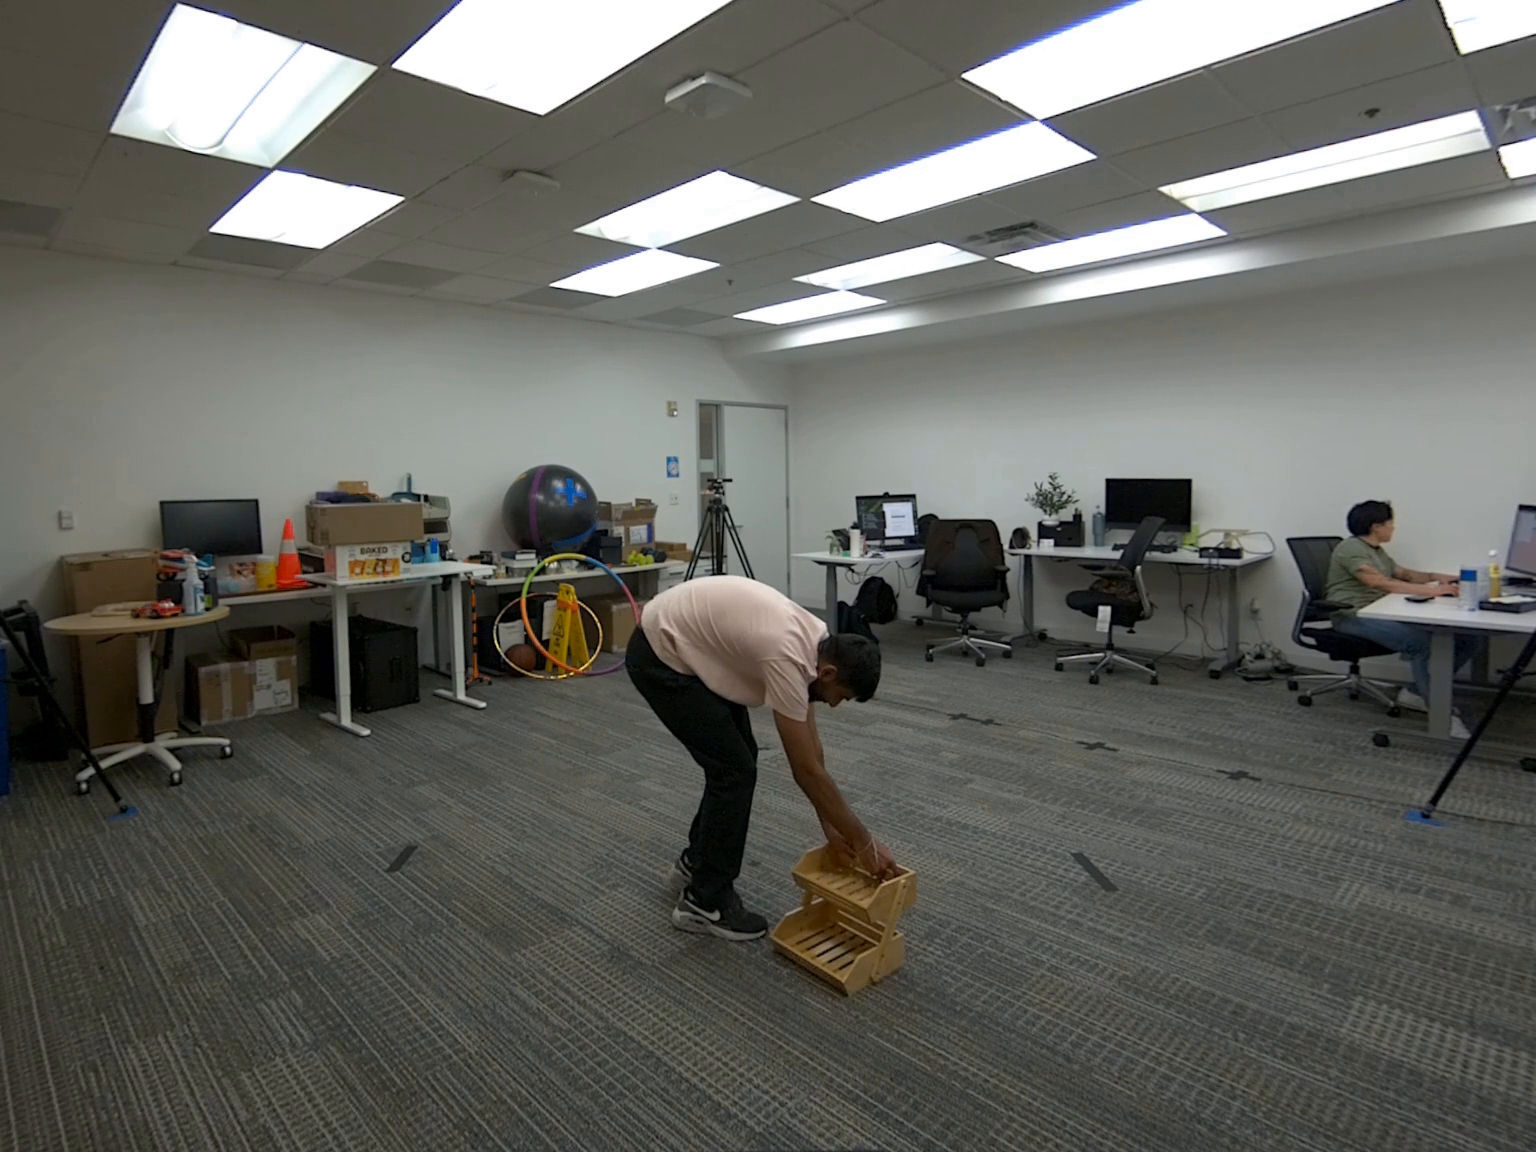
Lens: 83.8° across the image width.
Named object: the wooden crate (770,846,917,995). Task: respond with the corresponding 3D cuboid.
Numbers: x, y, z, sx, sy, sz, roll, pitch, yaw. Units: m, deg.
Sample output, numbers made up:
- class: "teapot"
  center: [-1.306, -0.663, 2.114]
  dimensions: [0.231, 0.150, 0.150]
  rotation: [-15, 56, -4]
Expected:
- class: "wooden crate"
  center: [0.217, 0.979, 2.488]
  dimensions: [0.294, 0.272, 0.334]
  rotation: [-4, 6, -39]
